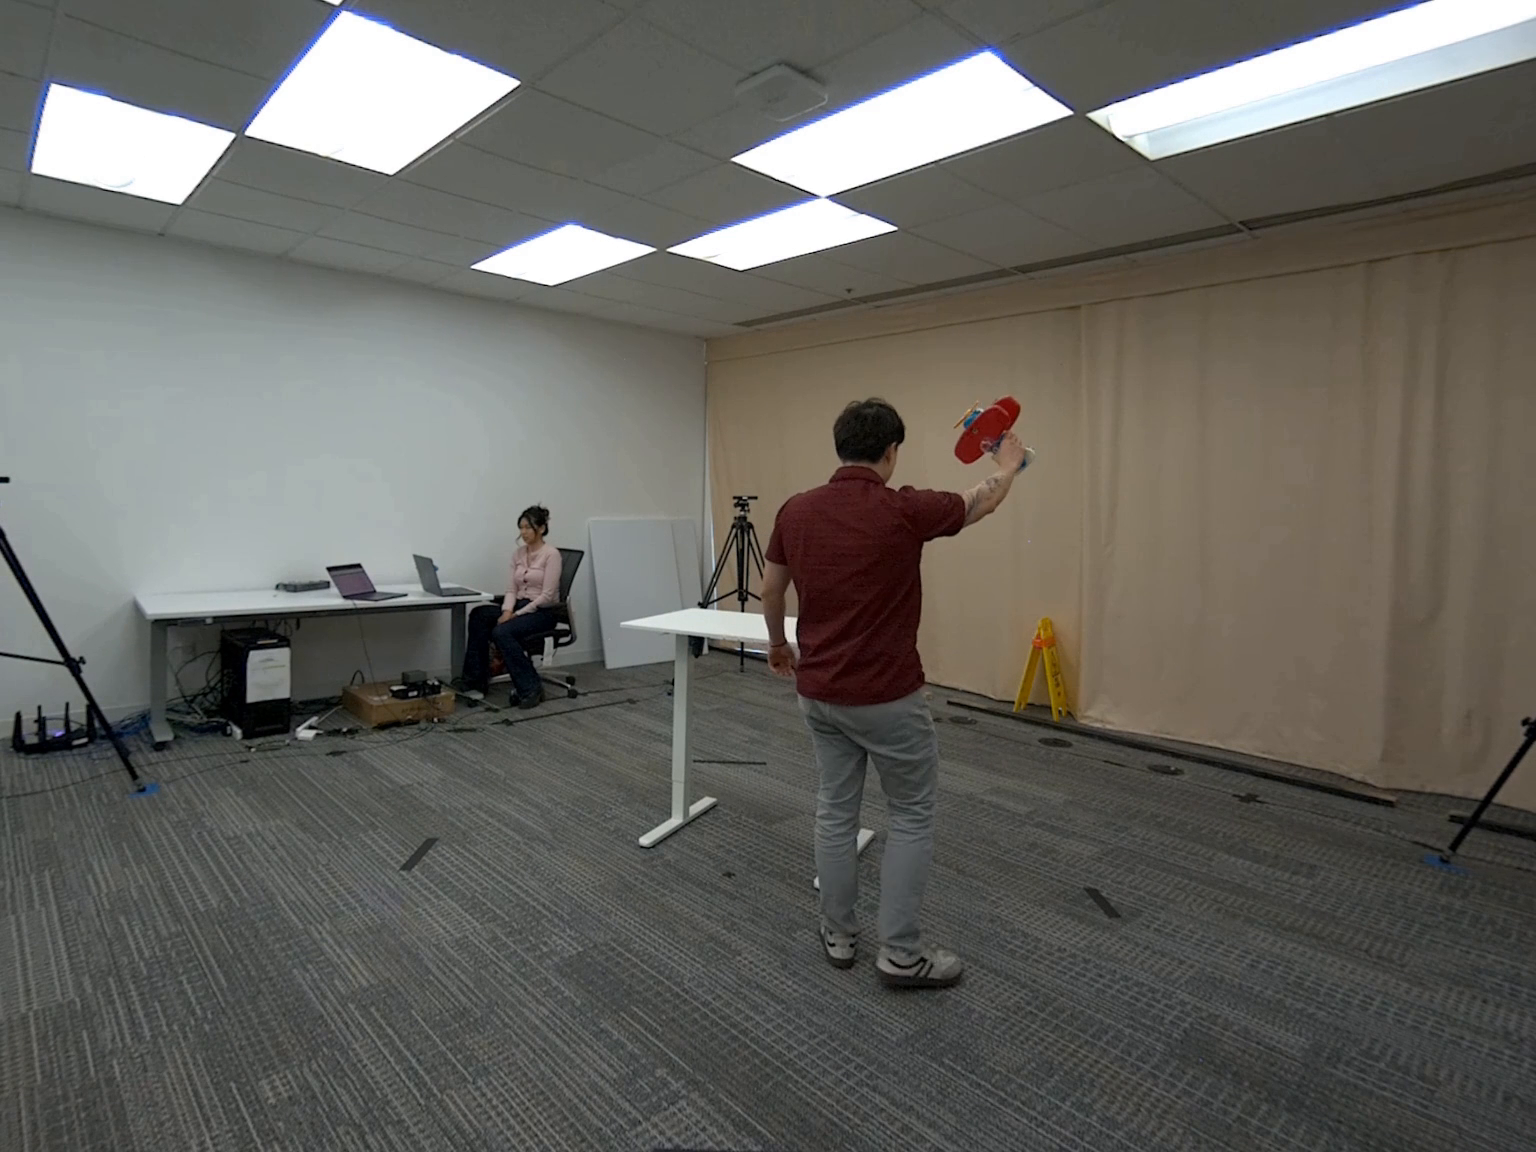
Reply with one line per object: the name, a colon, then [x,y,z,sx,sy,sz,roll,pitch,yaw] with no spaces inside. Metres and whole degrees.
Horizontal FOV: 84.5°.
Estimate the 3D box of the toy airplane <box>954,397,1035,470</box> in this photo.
toy airplane: [0.748,-0.459,2.718,0.154,0.246,0.267,-20,41,-31]
